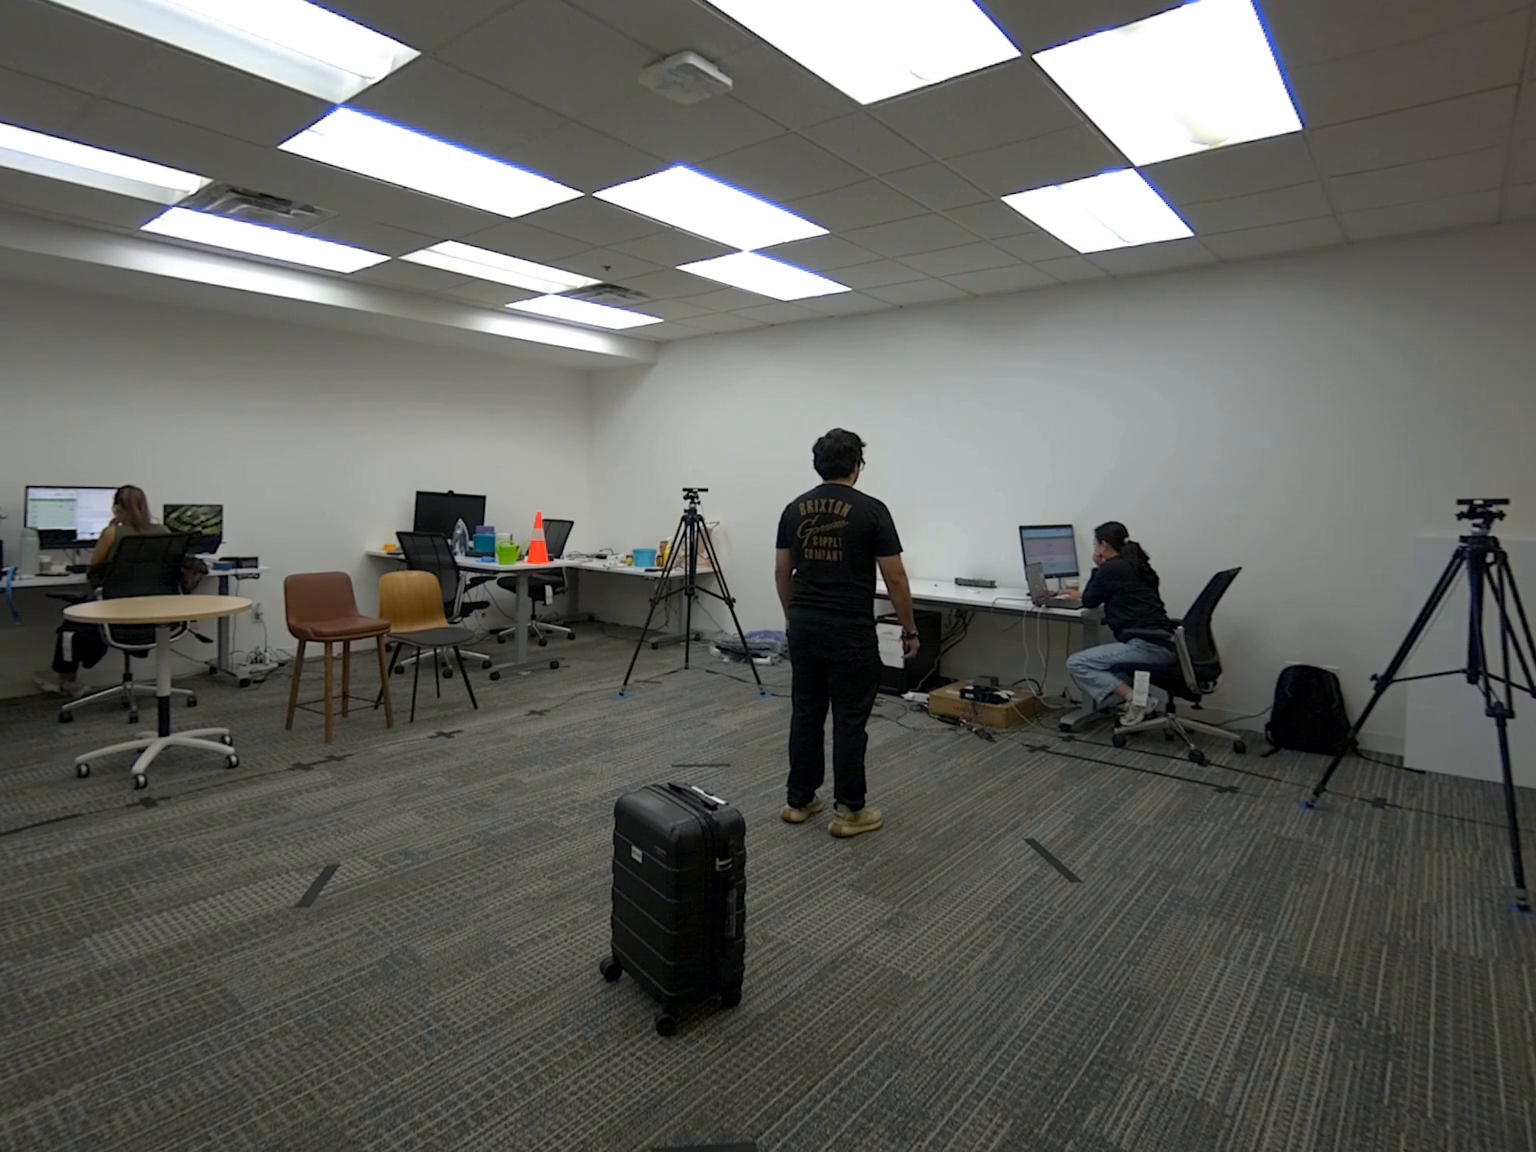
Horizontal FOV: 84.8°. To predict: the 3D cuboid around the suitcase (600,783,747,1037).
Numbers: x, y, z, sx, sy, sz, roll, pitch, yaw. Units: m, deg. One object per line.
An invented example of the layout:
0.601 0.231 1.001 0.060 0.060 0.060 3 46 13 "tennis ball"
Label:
-0.262 0.872 2.341 0.241 0.548 0.388 0 4 -40 "suitcase"
